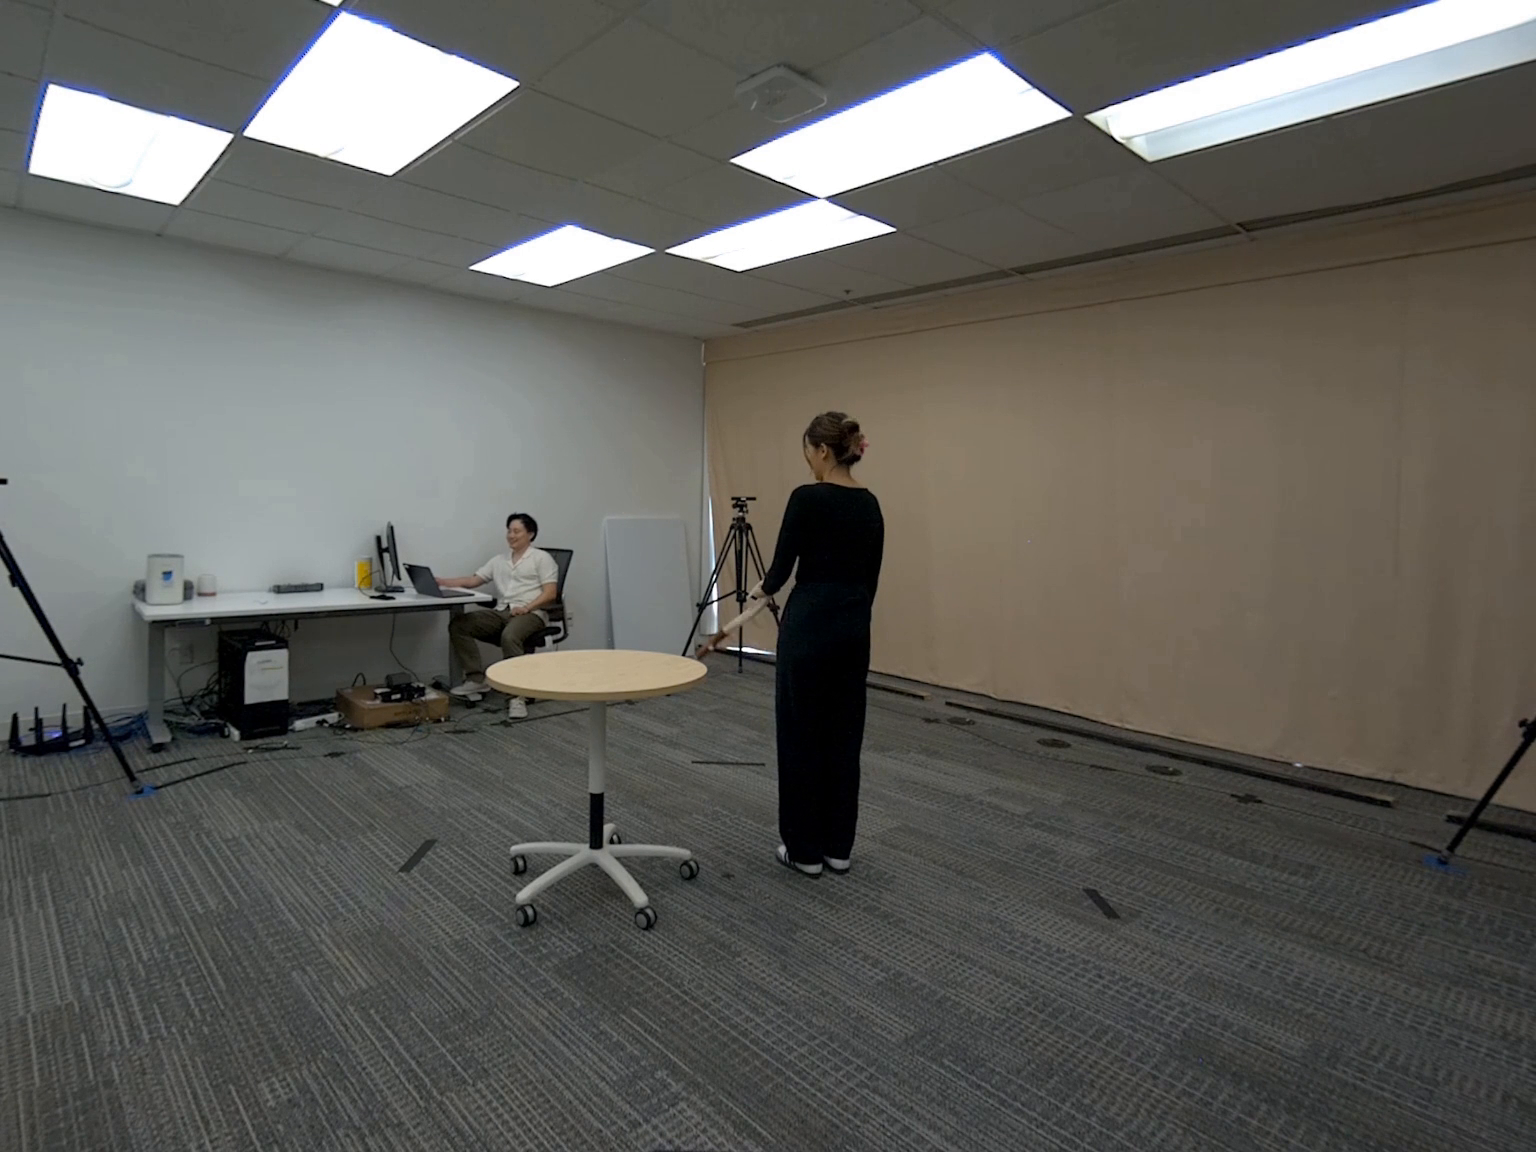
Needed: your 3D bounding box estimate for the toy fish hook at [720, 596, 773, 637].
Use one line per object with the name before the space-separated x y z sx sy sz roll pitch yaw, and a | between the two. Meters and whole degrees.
toy fish hook | -0.142 0.175 3.517 0.507 0.048 0.227 -42 14 28
